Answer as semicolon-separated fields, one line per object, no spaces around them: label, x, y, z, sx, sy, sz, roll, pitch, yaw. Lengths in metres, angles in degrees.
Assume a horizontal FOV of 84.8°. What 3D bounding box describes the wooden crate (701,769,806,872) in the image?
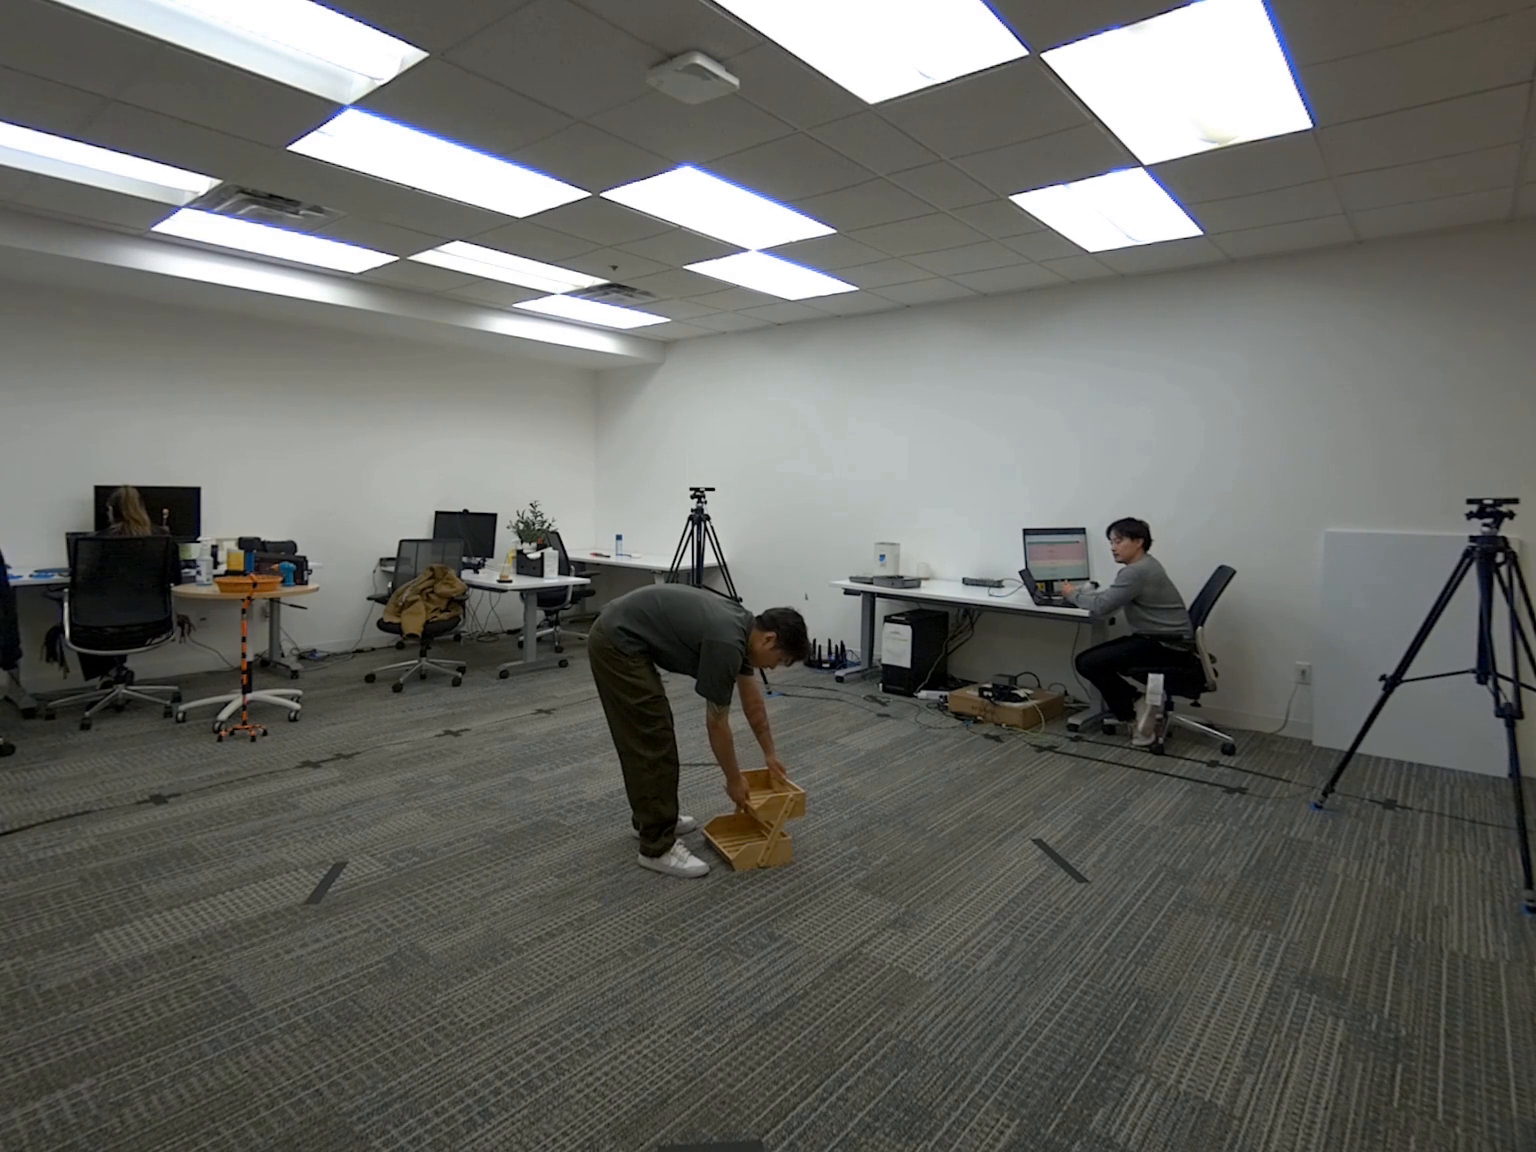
wooden crate;-0.078;0.920;3.272;0.295;0.272;0.333;-1;4;-23
